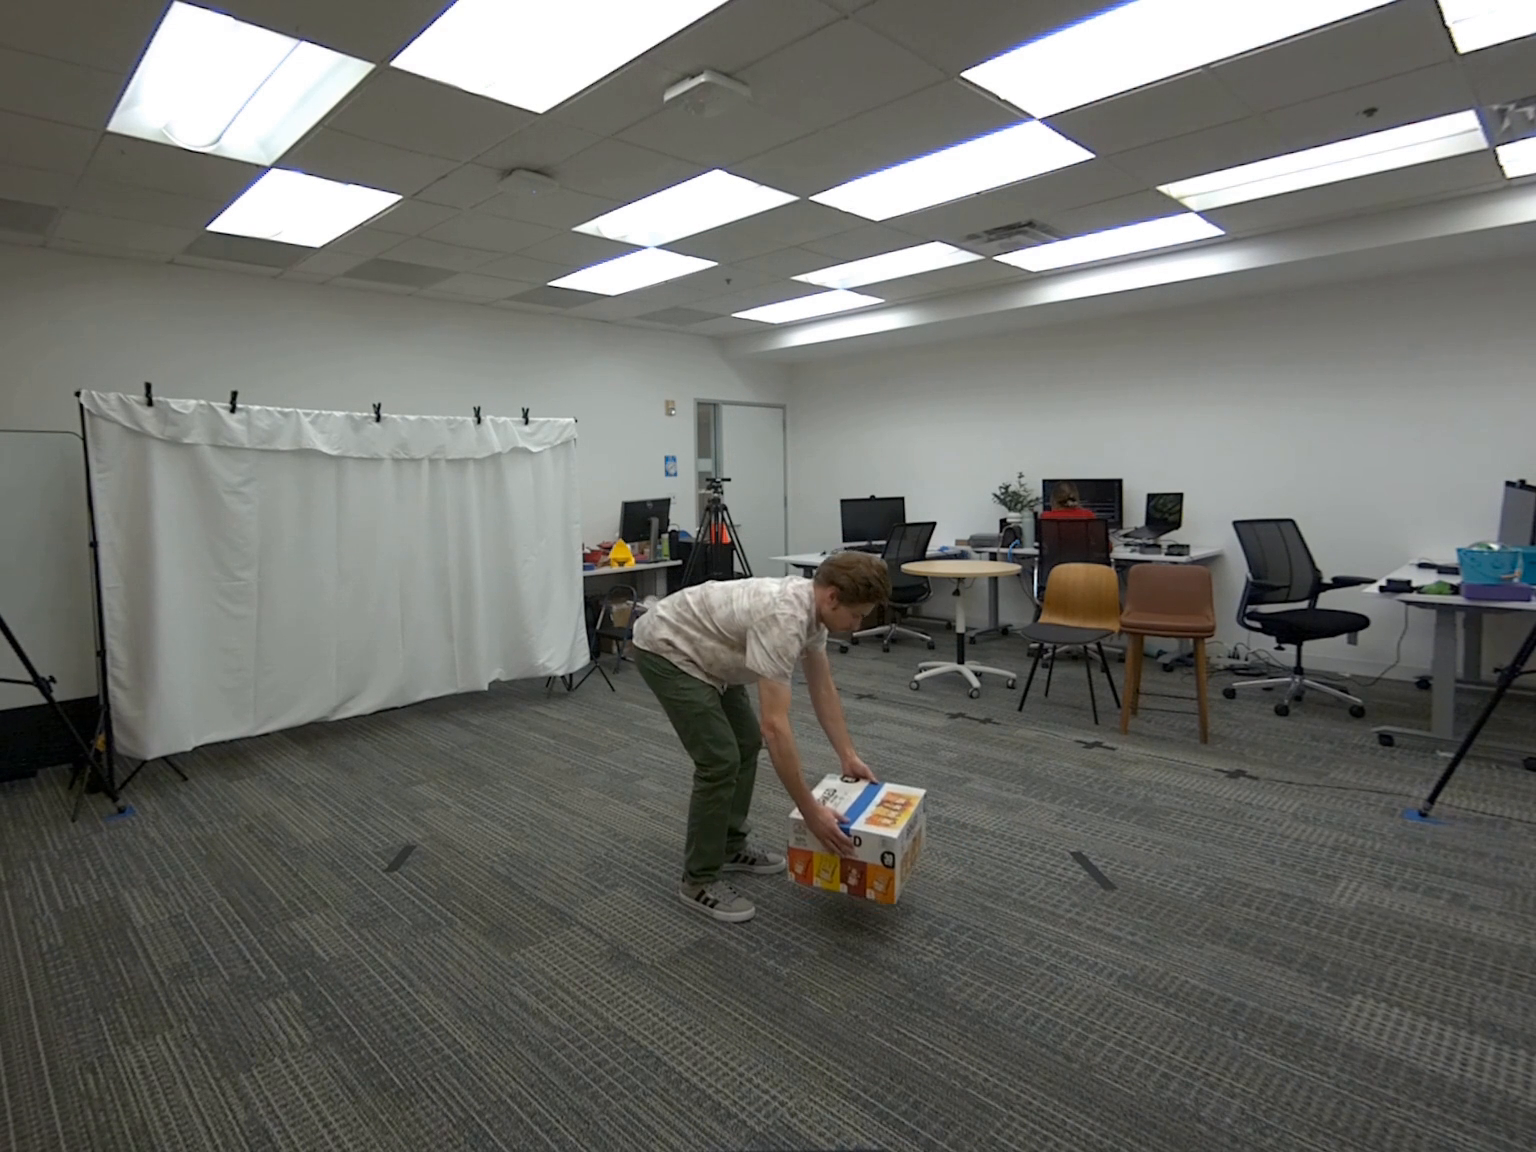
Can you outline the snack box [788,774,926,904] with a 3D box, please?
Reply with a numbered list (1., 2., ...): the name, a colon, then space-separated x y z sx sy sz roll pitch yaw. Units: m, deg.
1. snack box: 0.296 0.822 2.733 0.348 0.204 0.398 4 8 23
